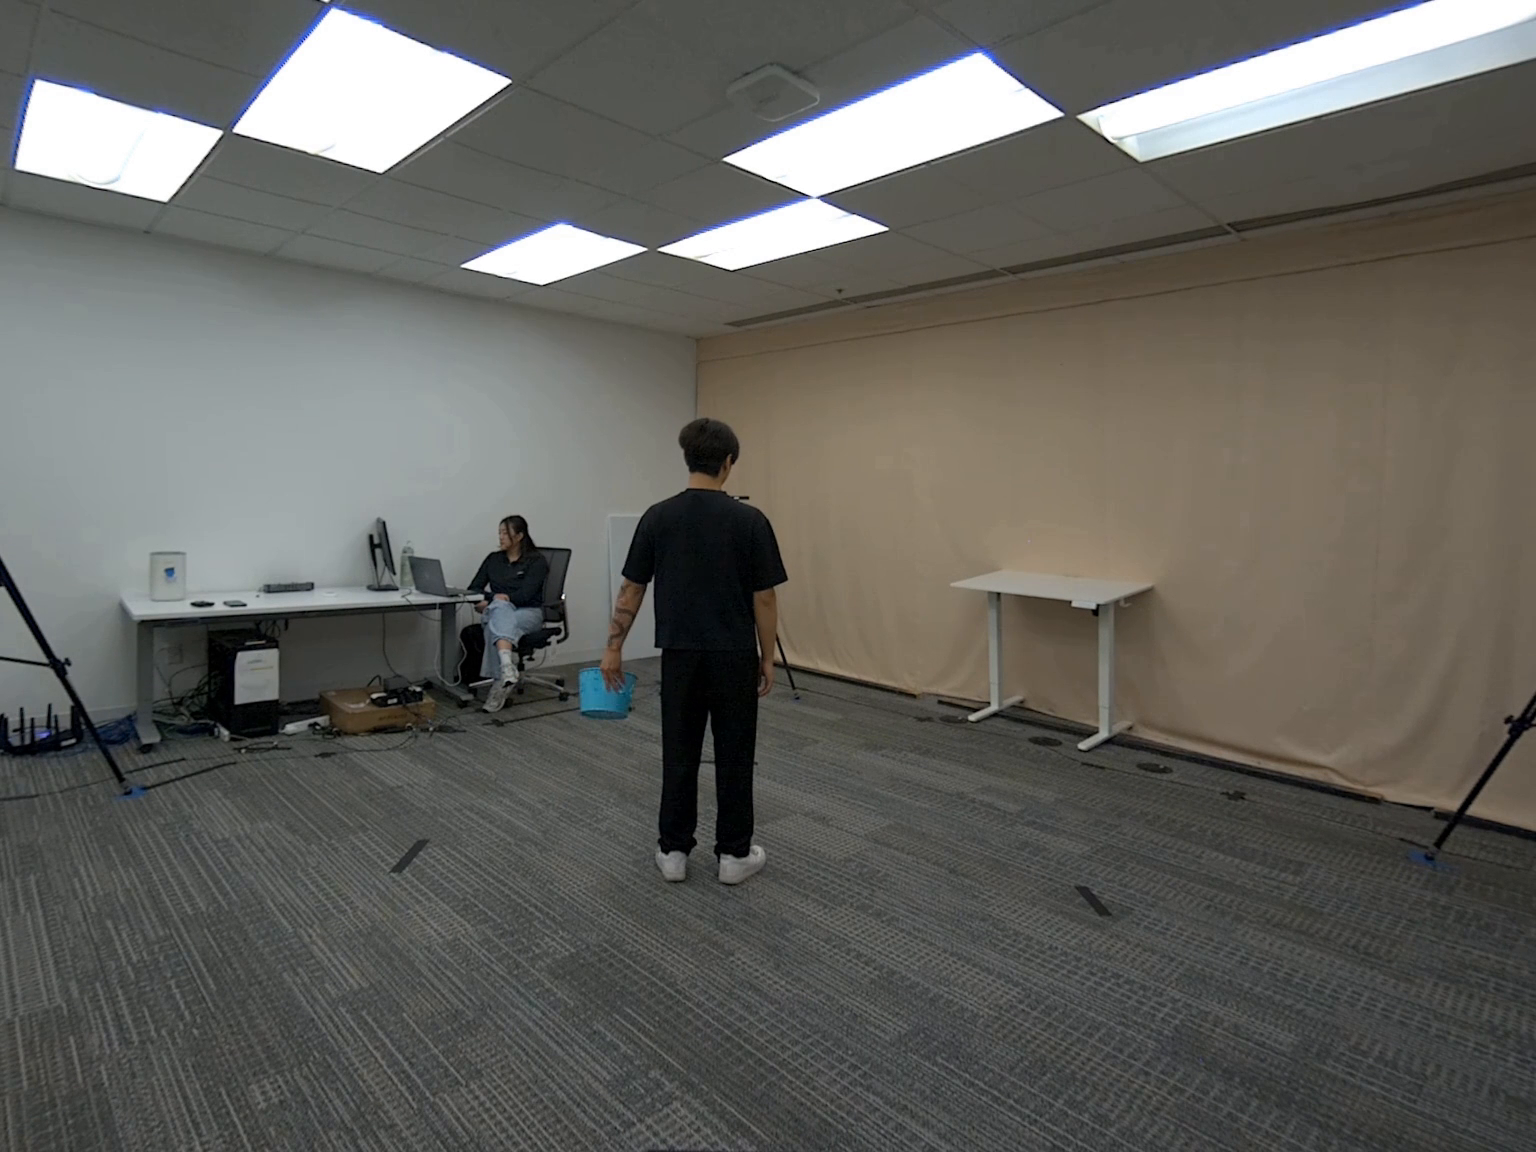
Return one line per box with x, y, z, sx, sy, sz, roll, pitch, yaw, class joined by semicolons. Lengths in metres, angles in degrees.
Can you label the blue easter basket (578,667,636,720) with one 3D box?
-0.618;0.445;3.231;0.244;0.158;0.240;3;-21;0;blue easter basket
